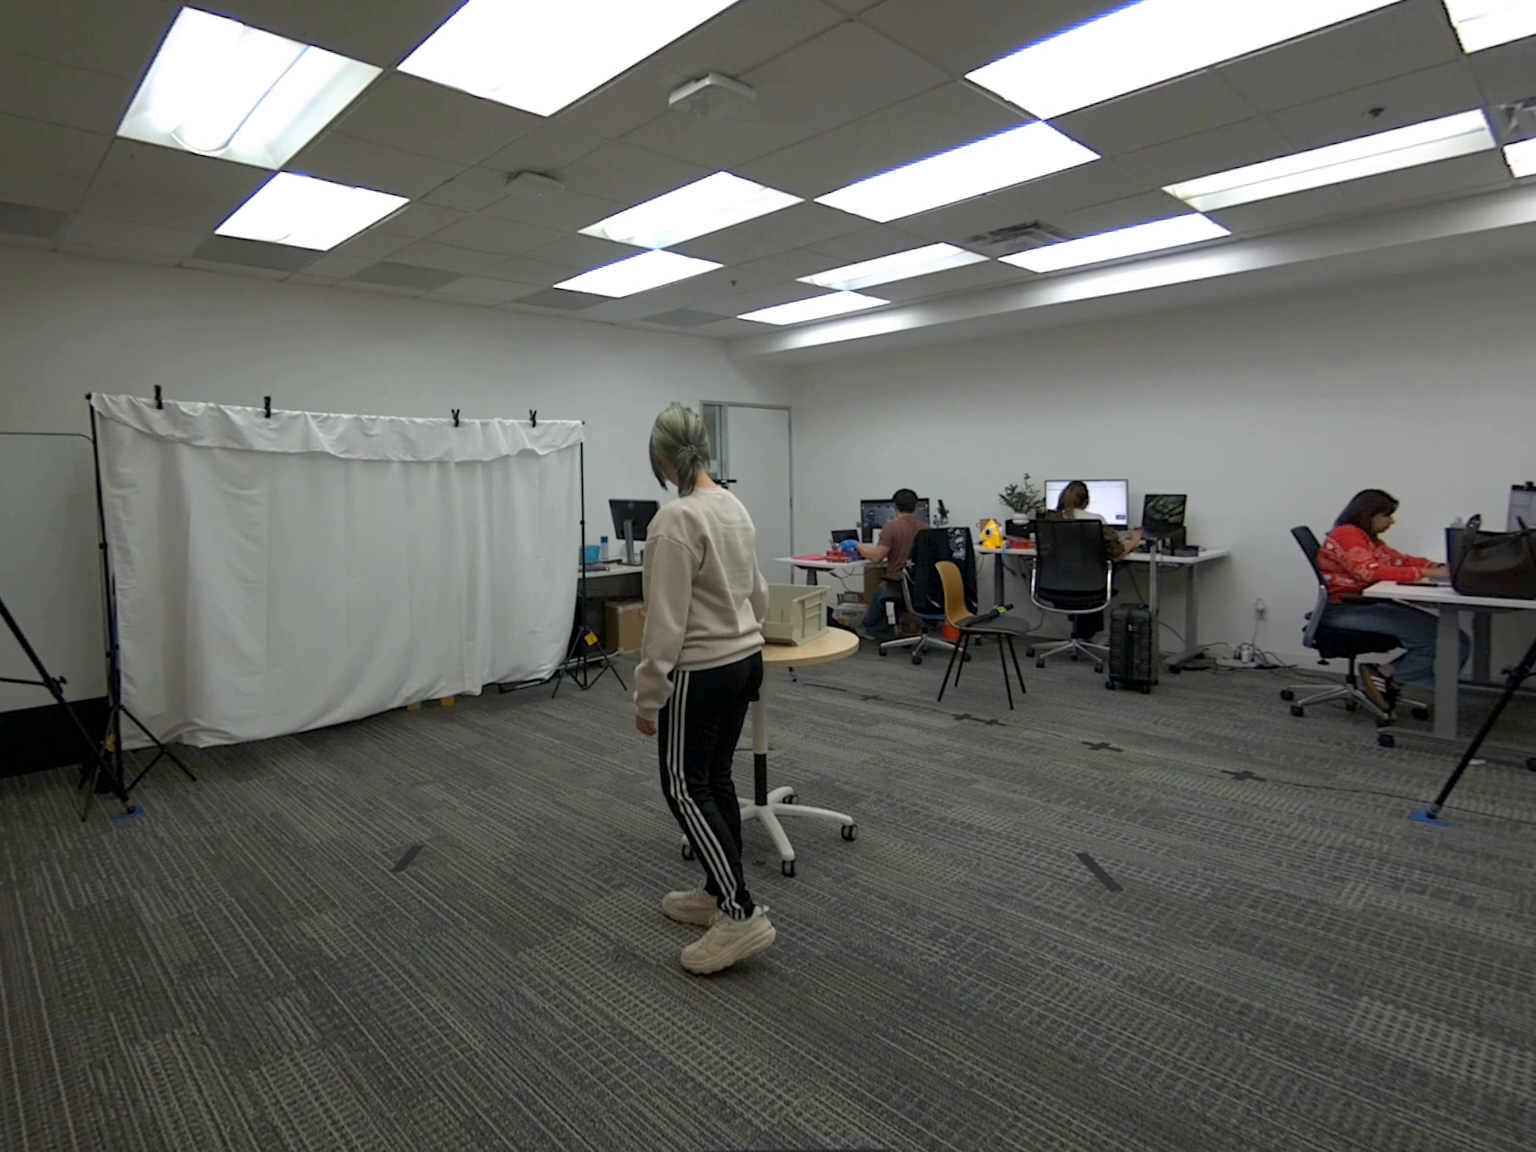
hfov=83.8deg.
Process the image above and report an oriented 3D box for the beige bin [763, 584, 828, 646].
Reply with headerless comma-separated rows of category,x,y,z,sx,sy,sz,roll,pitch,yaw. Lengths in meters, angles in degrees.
beige bin,-0.015,0.147,3.334,0.433,0.188,0.369,1,5,27
